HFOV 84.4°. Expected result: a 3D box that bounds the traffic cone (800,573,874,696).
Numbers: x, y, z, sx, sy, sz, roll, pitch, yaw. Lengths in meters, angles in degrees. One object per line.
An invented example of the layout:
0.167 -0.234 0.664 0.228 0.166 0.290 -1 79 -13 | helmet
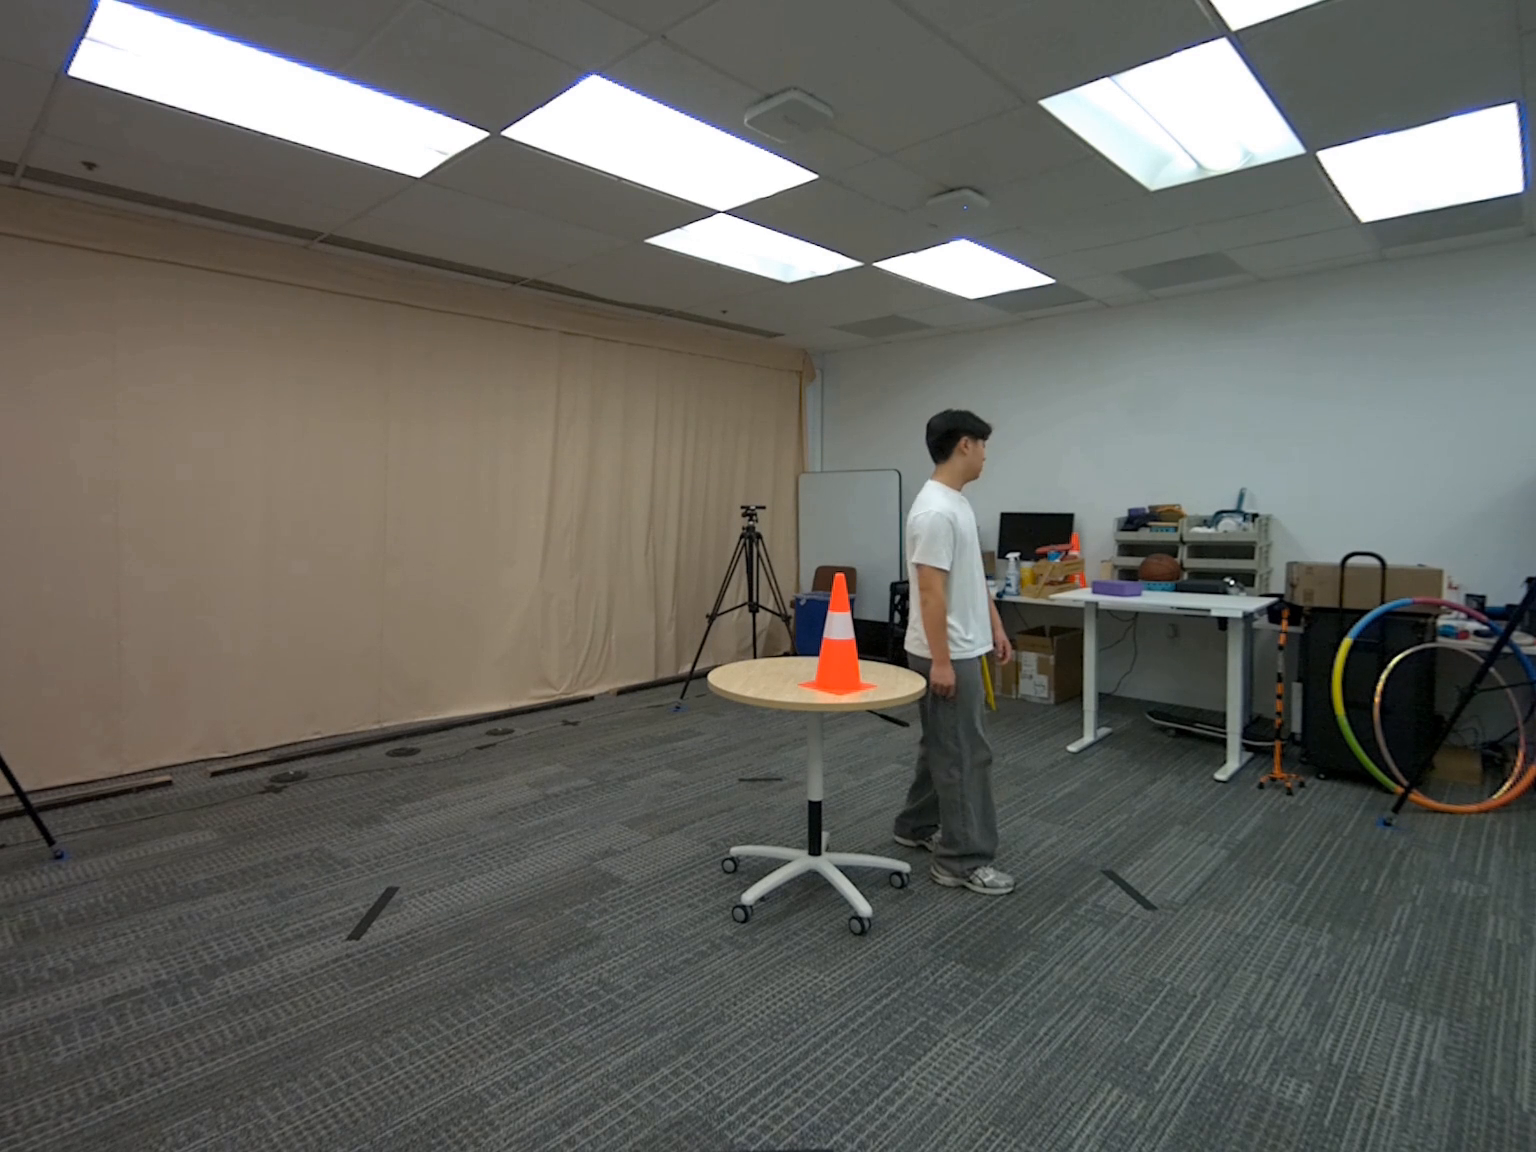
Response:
0.250 0.188 2.838 0.212 0.383 0.197 4 5 39 | traffic cone
